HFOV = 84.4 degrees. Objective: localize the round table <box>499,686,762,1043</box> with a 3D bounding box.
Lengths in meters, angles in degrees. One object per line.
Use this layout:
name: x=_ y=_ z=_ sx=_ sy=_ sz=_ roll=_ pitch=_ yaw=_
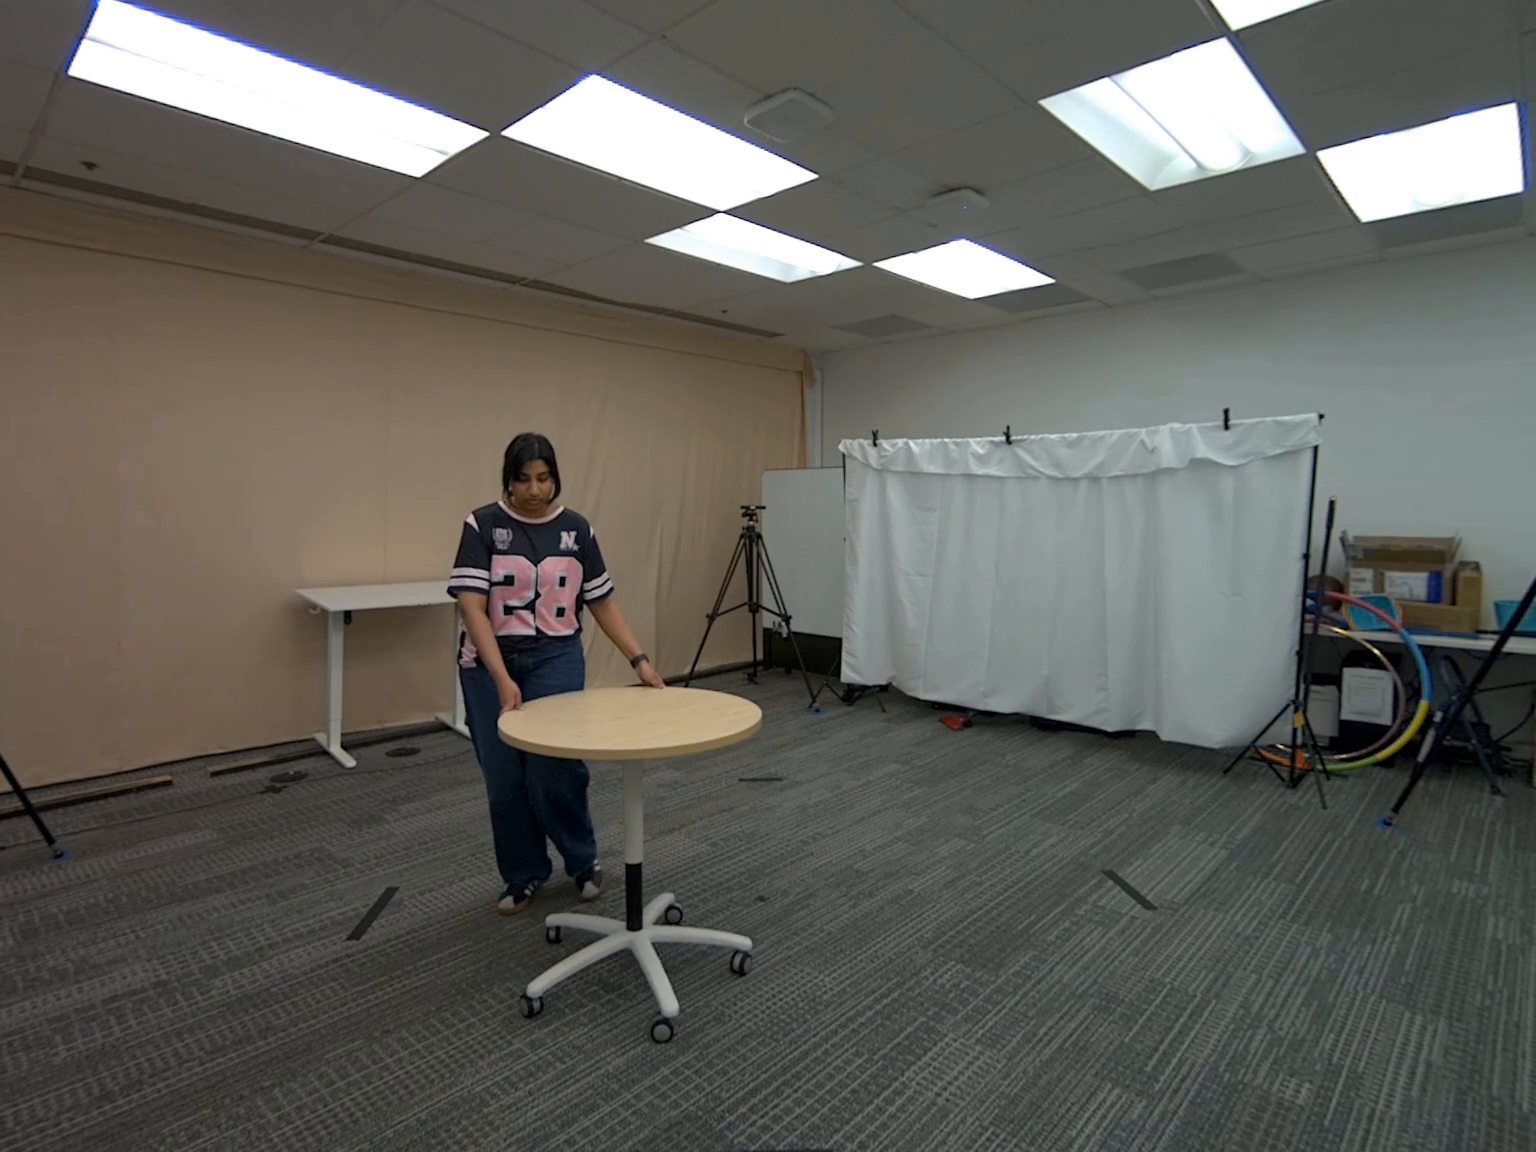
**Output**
round table: x=-0.391 y=0.795 z=2.476 sx=0.784 sy=0.785 sz=0.787 roll=-1 pitch=3 yaw=-2
